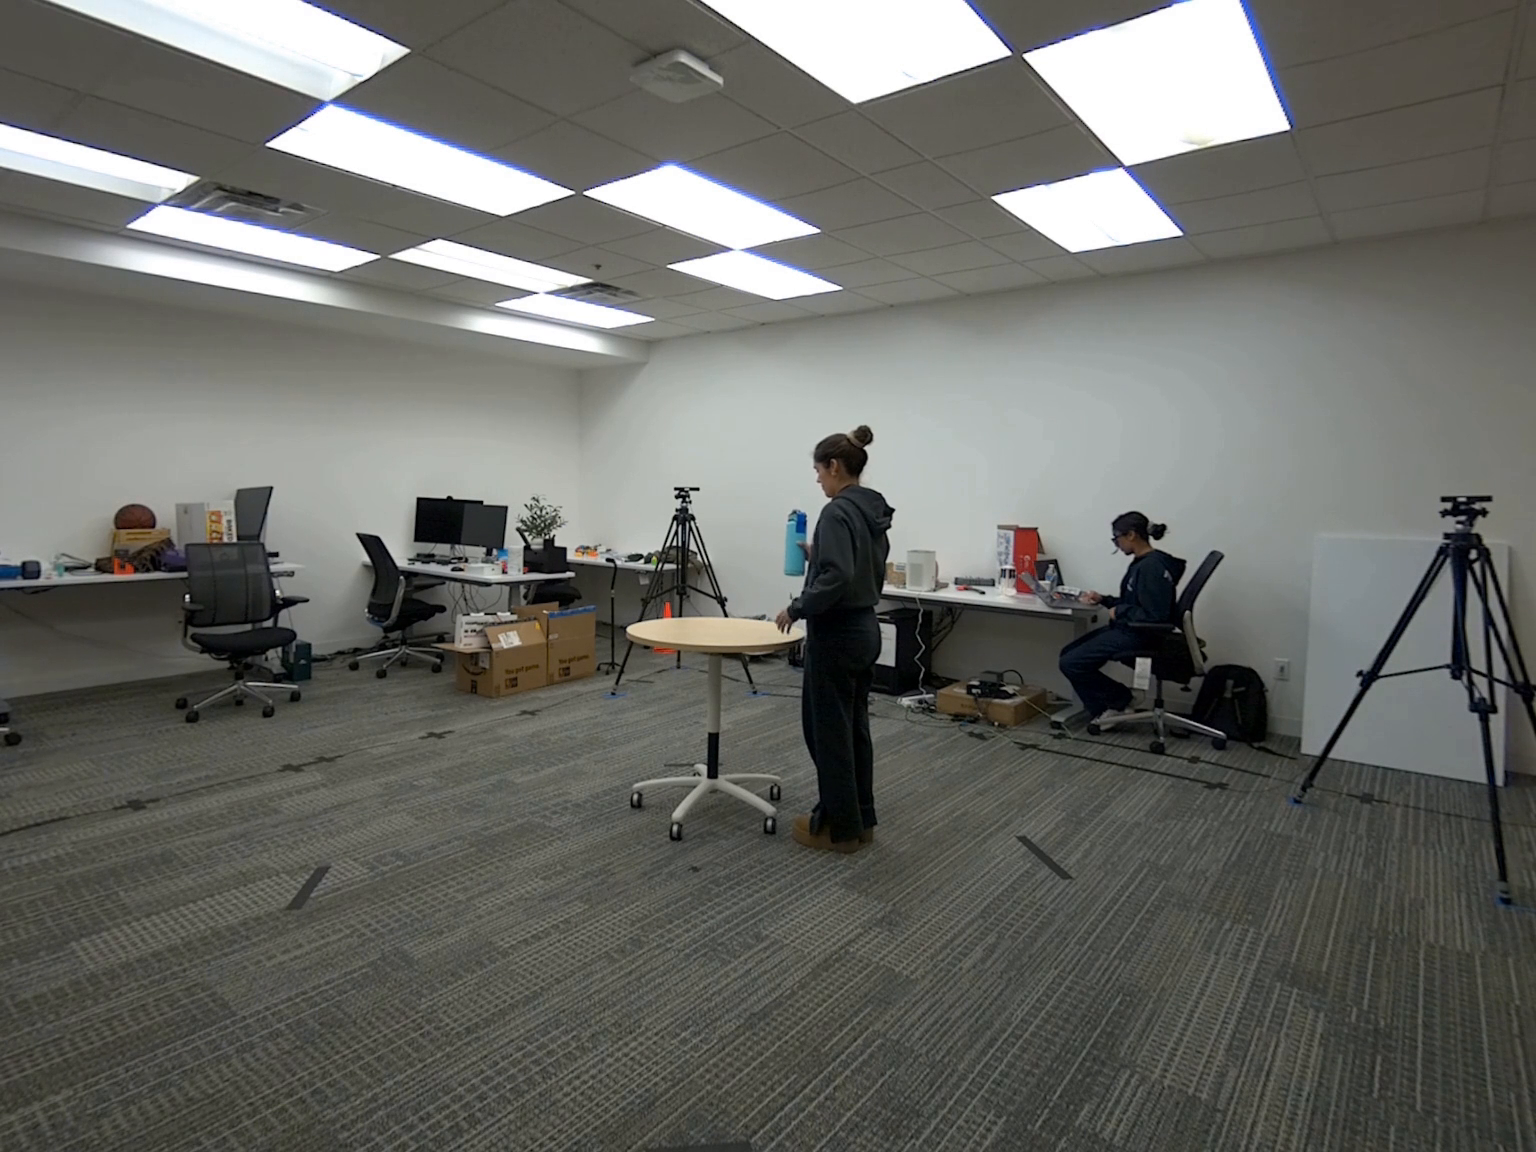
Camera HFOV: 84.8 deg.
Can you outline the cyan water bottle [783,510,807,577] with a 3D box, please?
[{"bbox_3d":[0.116,-0.153,3.645,0.092,0.285,0.092,2,-7,-2],"label":"cyan water bottle"}]
